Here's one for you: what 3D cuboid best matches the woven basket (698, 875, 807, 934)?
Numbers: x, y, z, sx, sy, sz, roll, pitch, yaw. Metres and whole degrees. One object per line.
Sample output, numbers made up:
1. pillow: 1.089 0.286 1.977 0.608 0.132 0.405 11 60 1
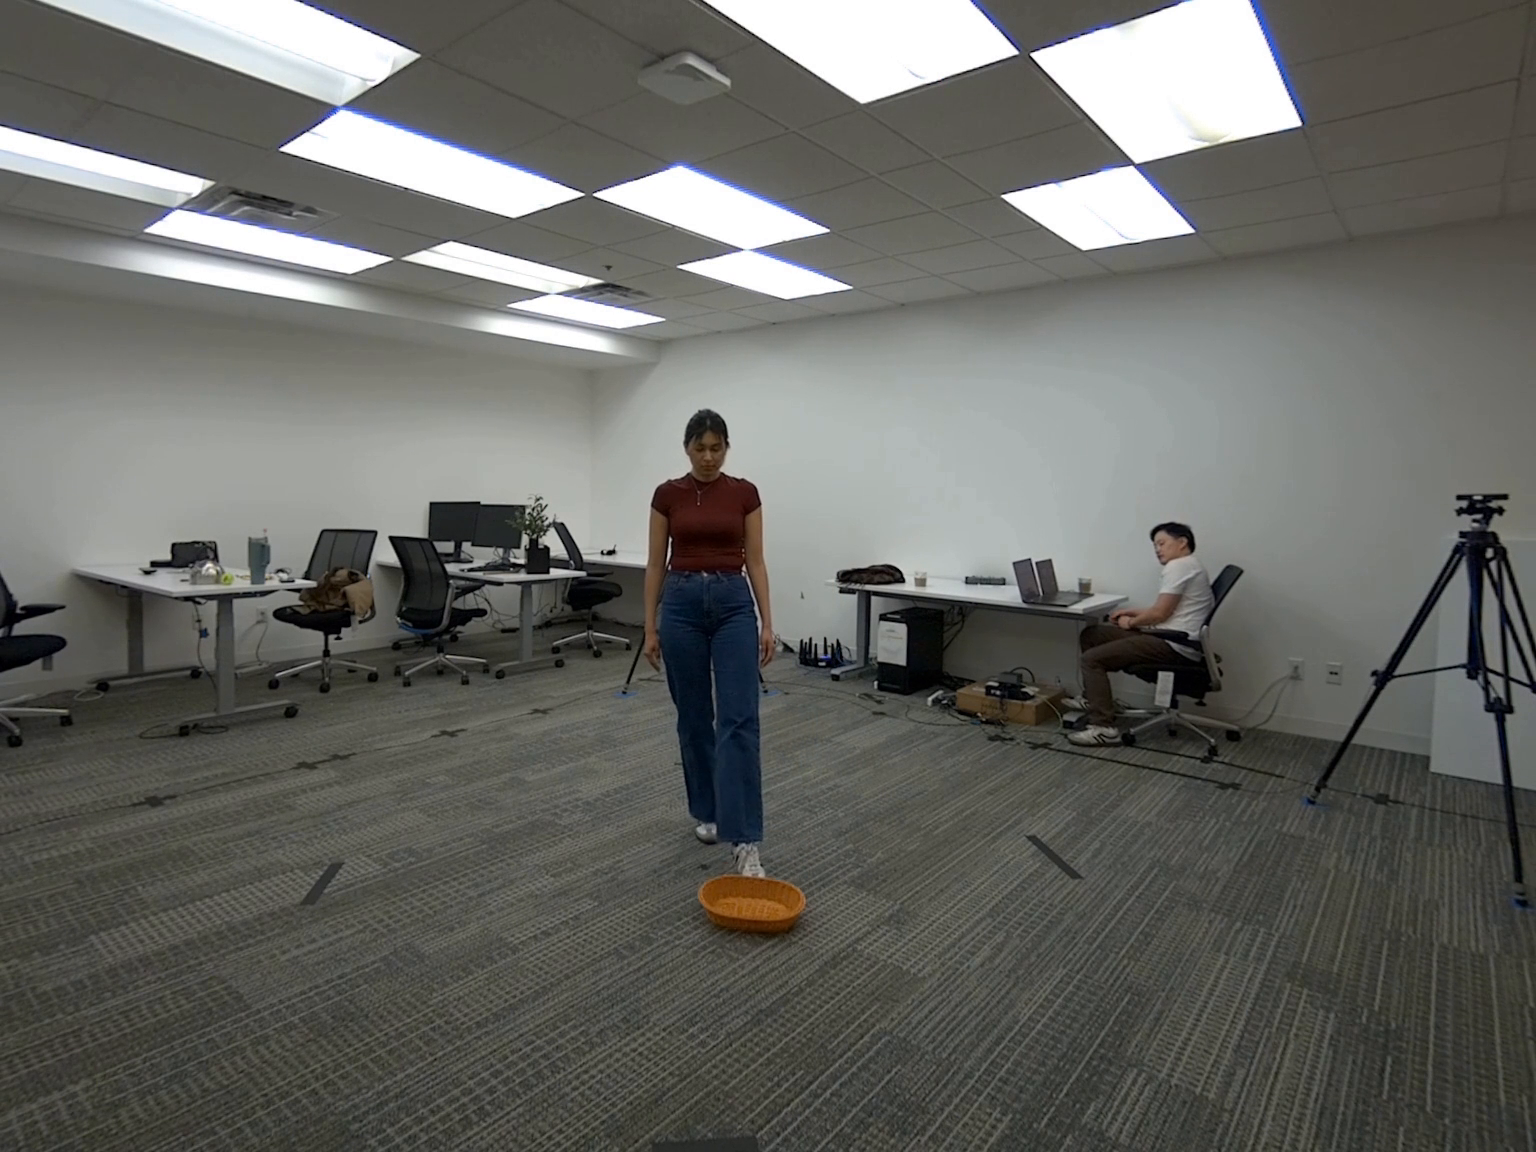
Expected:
1. woven basket: -0.063 1.057 2.752 0.354 0.073 0.252 2 10 8
